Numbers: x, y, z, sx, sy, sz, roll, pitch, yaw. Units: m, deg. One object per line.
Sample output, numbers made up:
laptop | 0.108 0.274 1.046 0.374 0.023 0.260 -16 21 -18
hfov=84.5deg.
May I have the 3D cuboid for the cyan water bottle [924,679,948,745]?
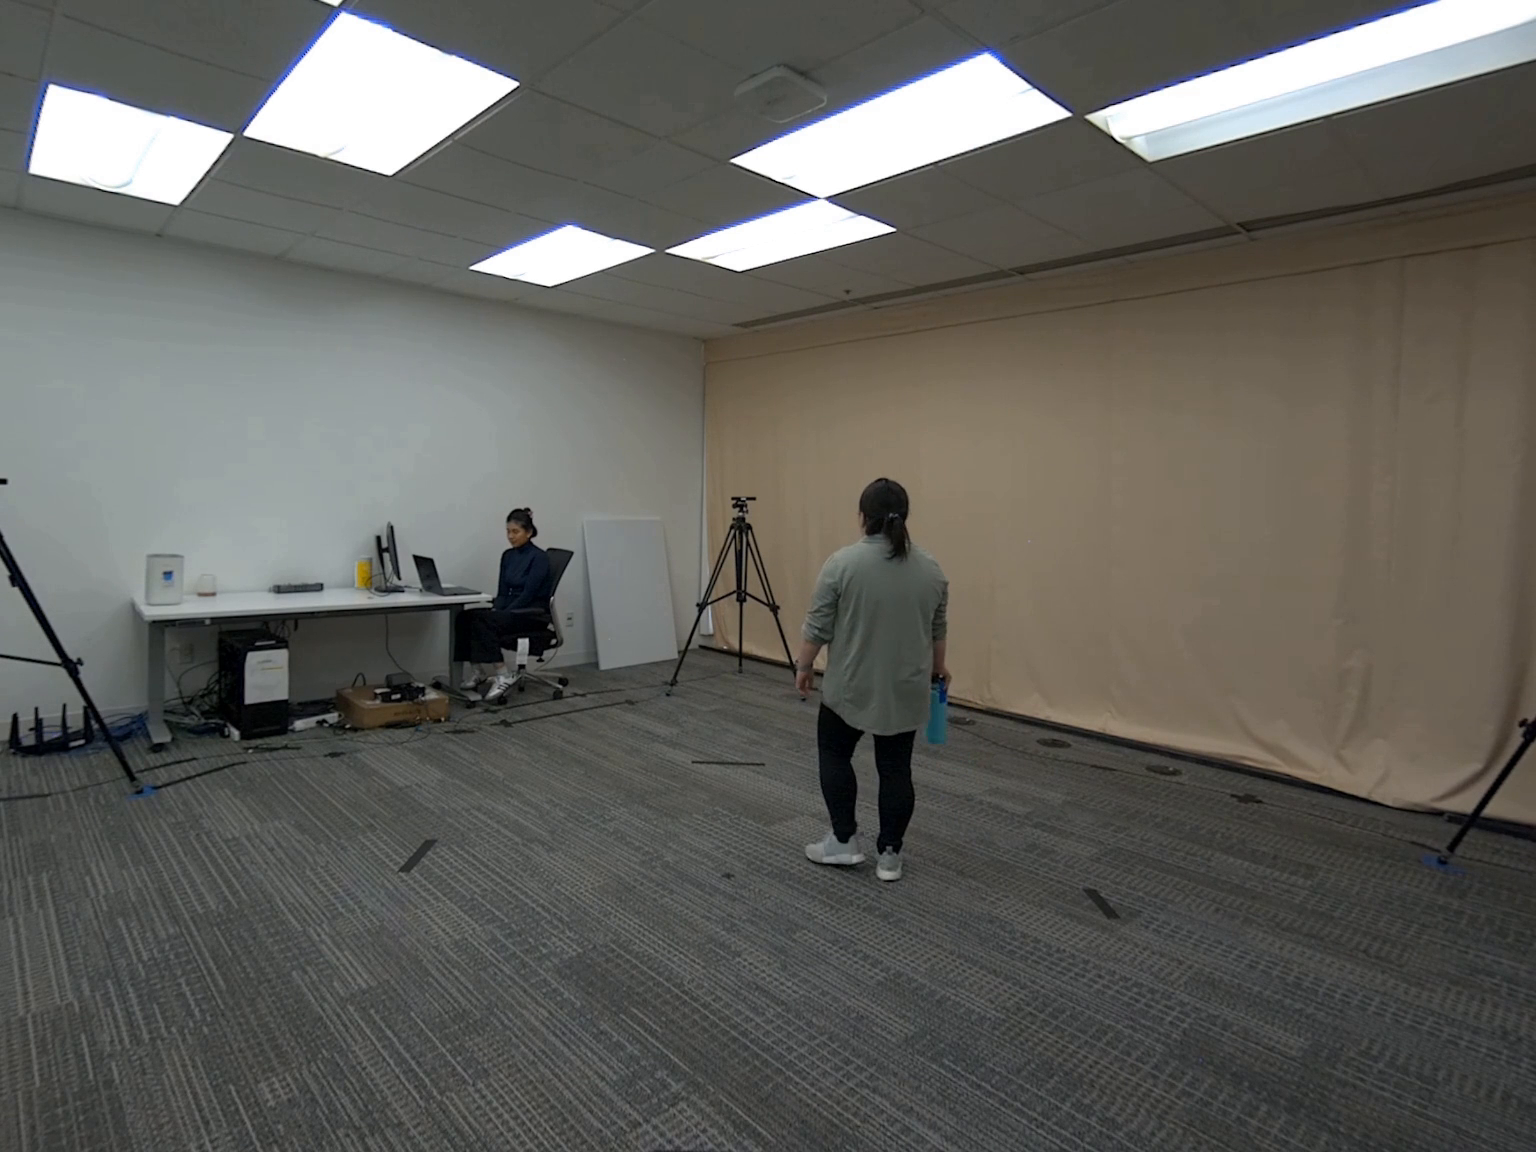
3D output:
cyan water bottle | 0.669 0.539 3.418 0.092 0.282 0.093 0 8 -1
